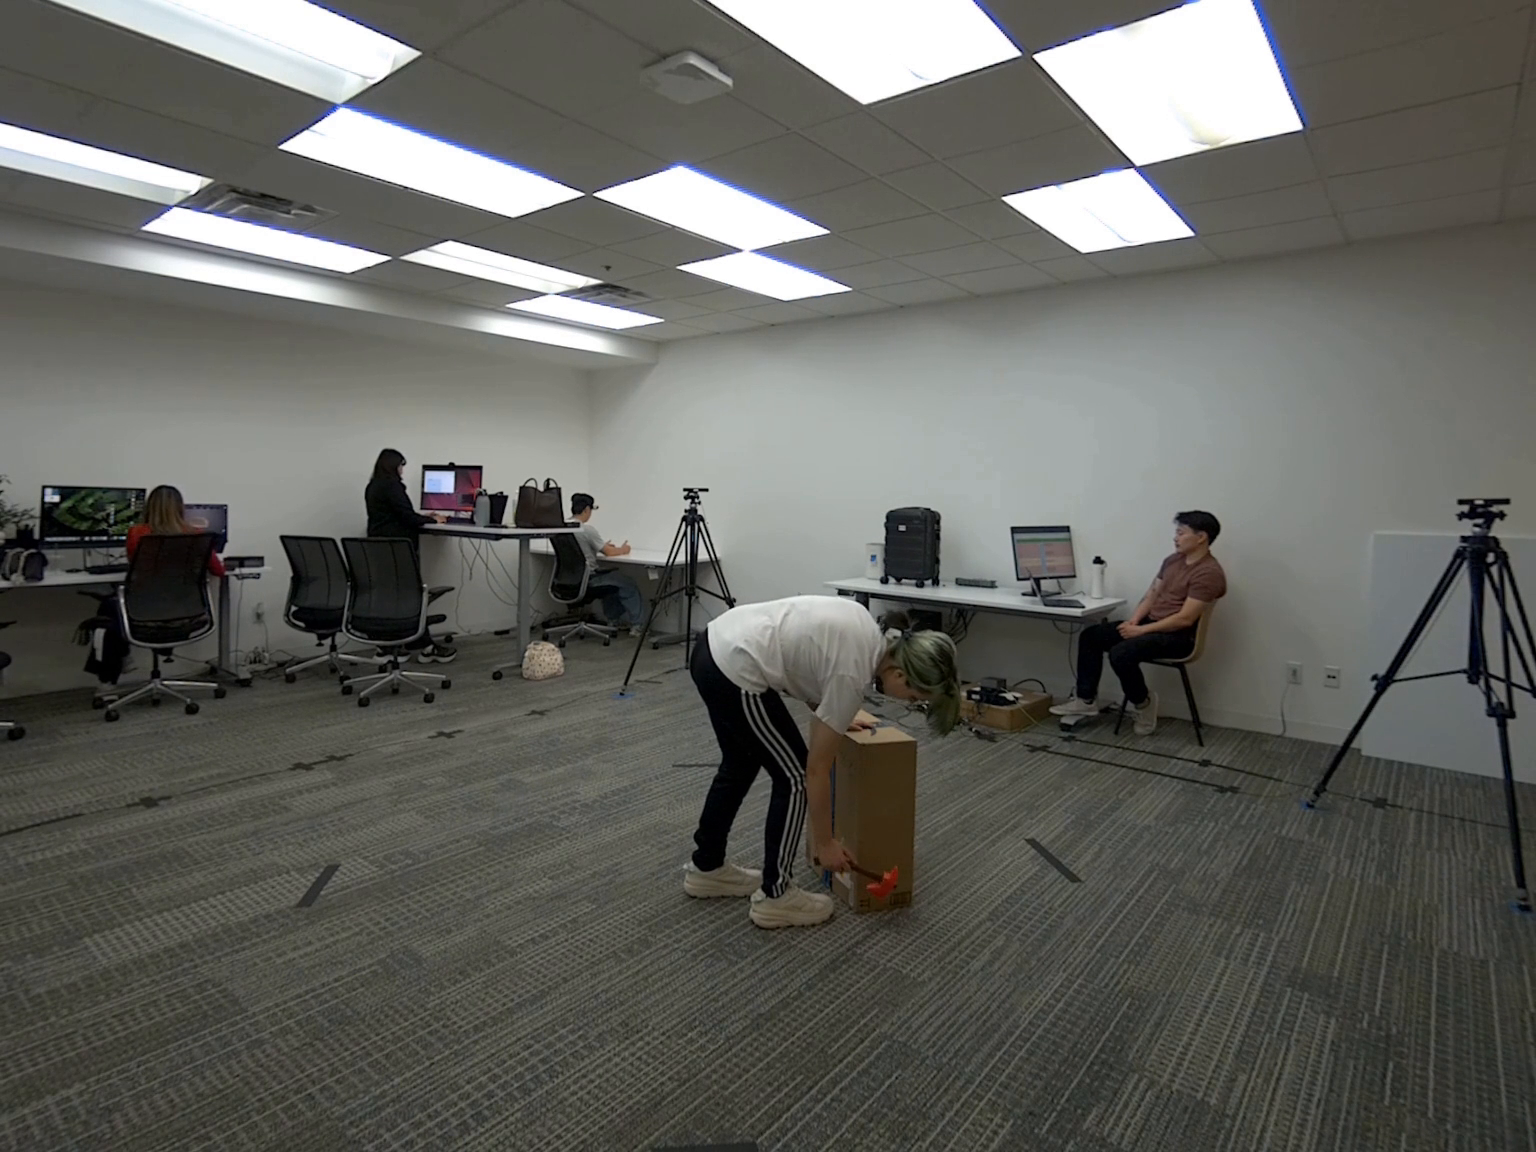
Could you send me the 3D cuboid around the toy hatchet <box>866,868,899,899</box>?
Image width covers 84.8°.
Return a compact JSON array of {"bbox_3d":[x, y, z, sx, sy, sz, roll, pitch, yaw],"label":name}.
[{"bbox_3d":[0.274,0.964,2.739,0.273,0.128,0.030,2,23,11],"label":"toy hatchet"}]
